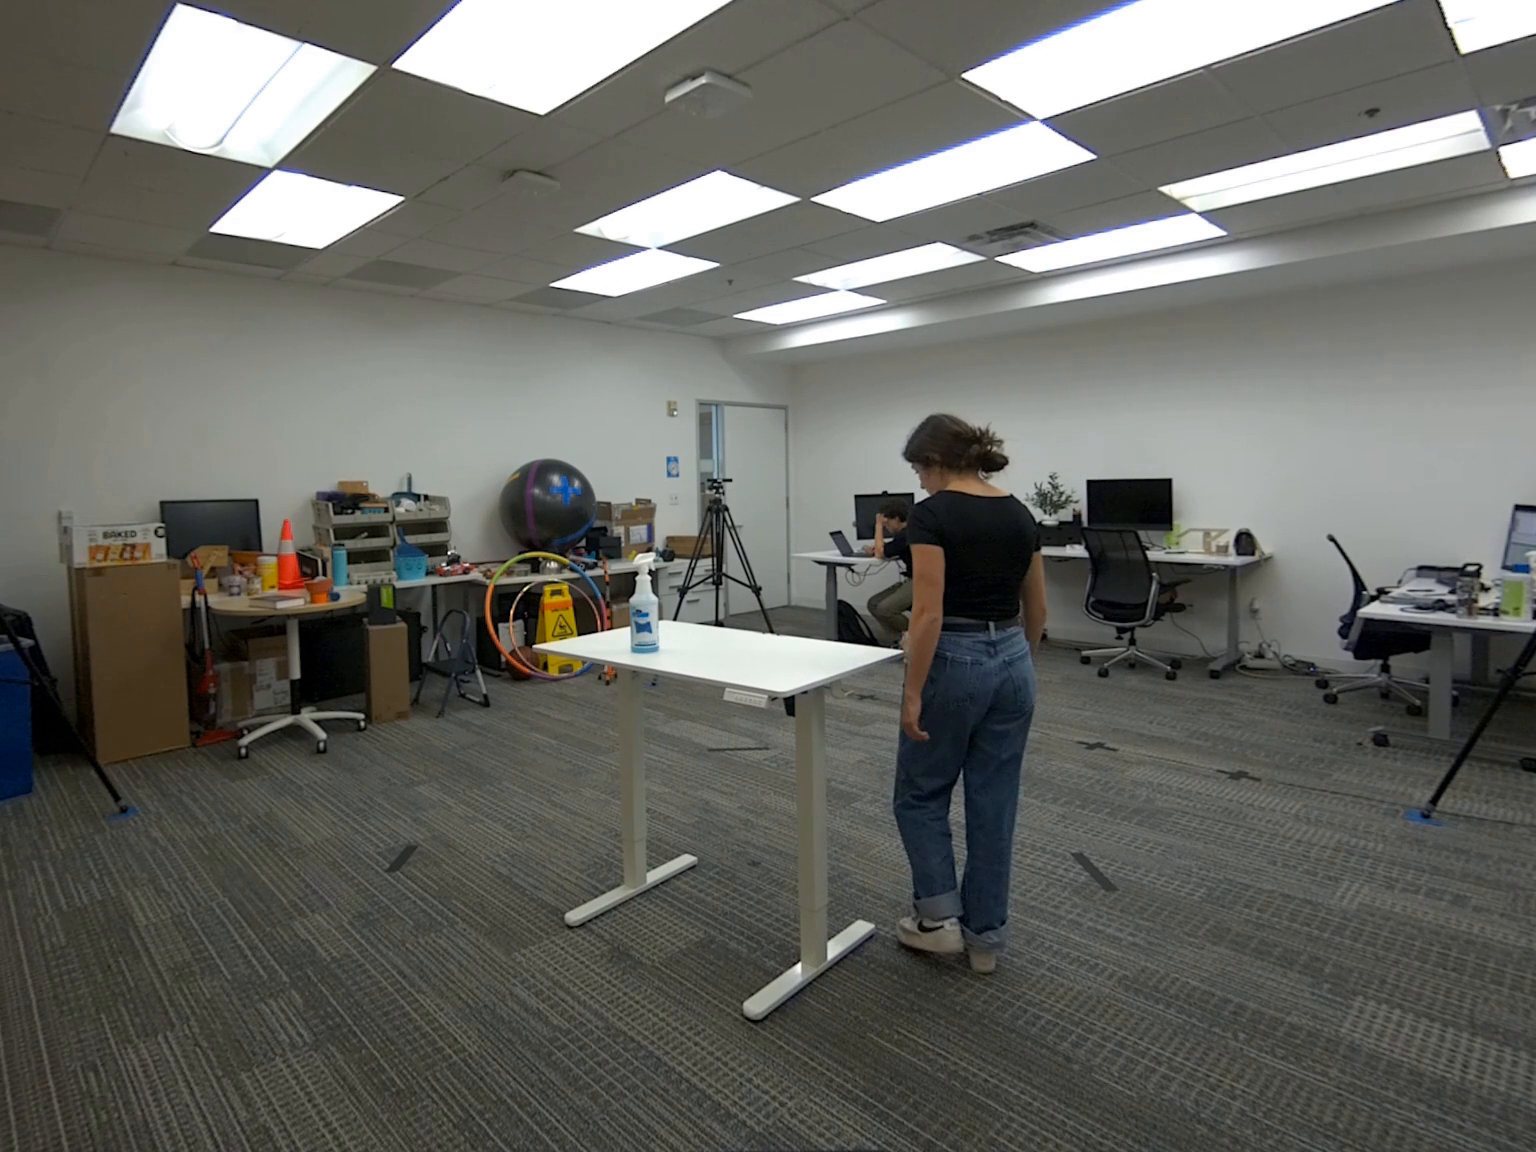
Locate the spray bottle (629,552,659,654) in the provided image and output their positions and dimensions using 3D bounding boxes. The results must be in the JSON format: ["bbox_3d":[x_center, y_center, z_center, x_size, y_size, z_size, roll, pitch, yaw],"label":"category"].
[{"bbox_3d":[-0.375,0.082,2.590,0.088,0.296,0.089,-2,3,-29],"label":"spray bottle"}]
